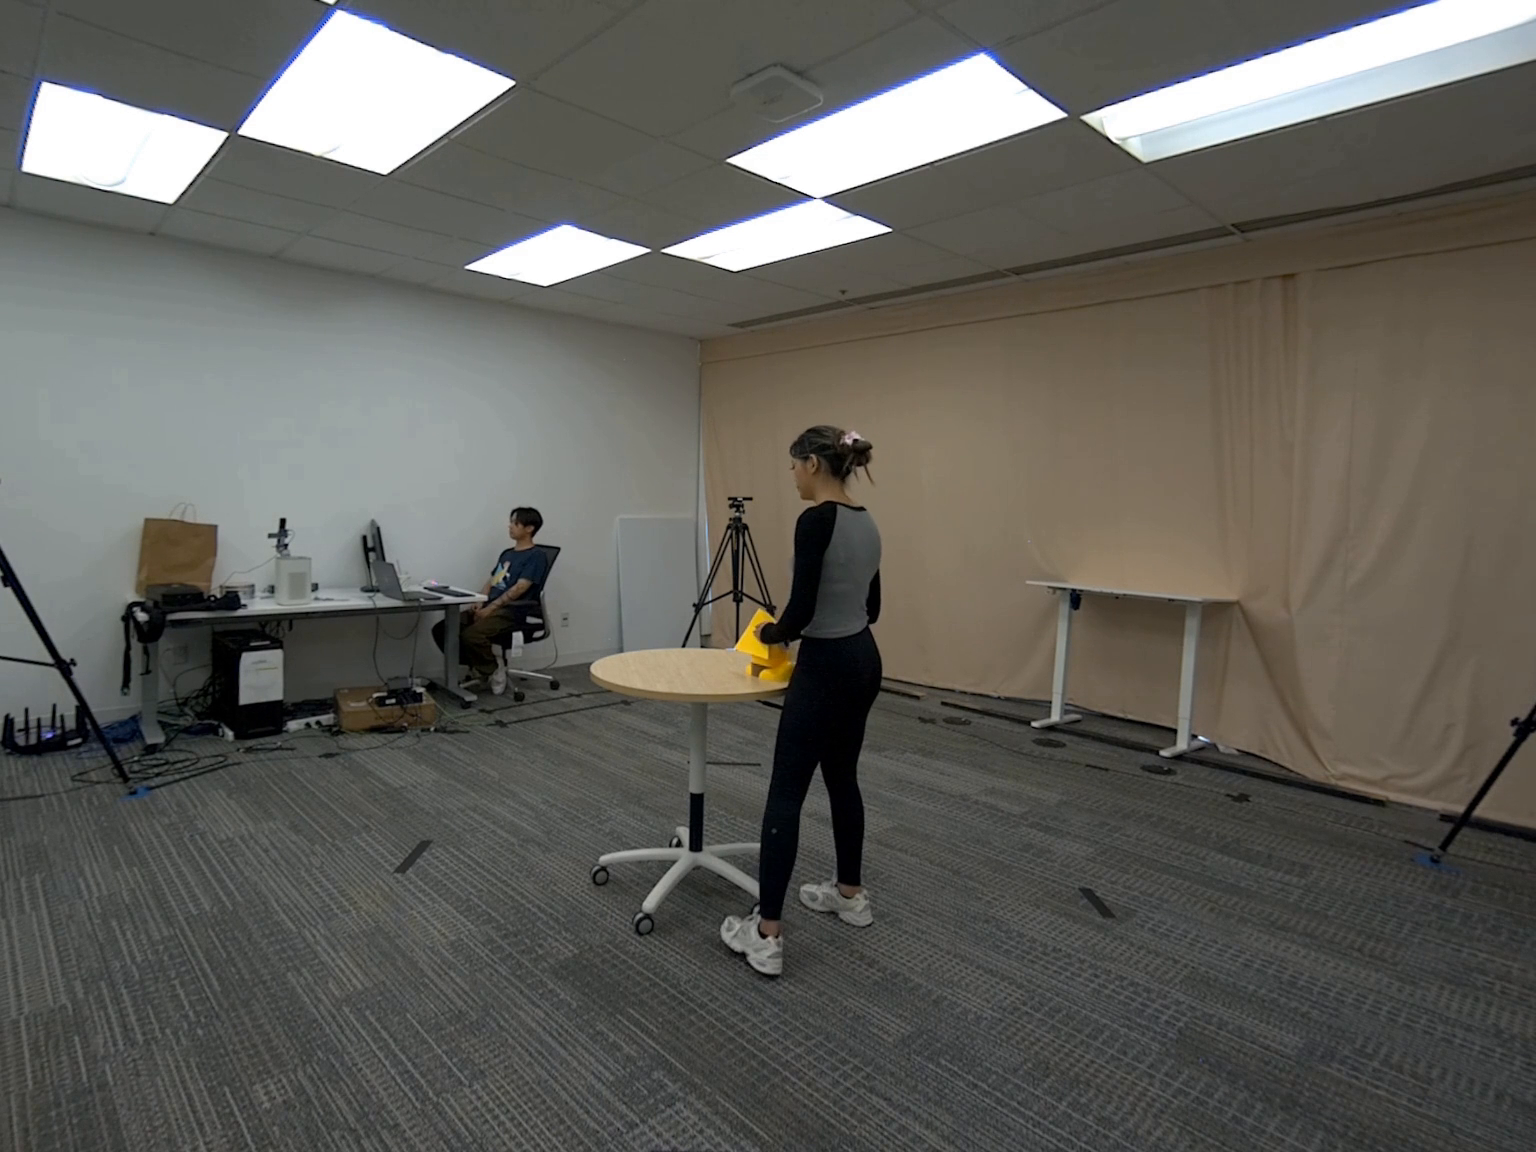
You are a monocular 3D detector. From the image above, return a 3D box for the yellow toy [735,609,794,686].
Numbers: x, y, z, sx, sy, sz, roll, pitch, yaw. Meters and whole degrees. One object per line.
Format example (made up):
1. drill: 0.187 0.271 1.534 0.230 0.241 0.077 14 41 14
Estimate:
1. yellow toy: 0.014 0.228 2.880 0.189 0.230 0.210 -2 6 -34
